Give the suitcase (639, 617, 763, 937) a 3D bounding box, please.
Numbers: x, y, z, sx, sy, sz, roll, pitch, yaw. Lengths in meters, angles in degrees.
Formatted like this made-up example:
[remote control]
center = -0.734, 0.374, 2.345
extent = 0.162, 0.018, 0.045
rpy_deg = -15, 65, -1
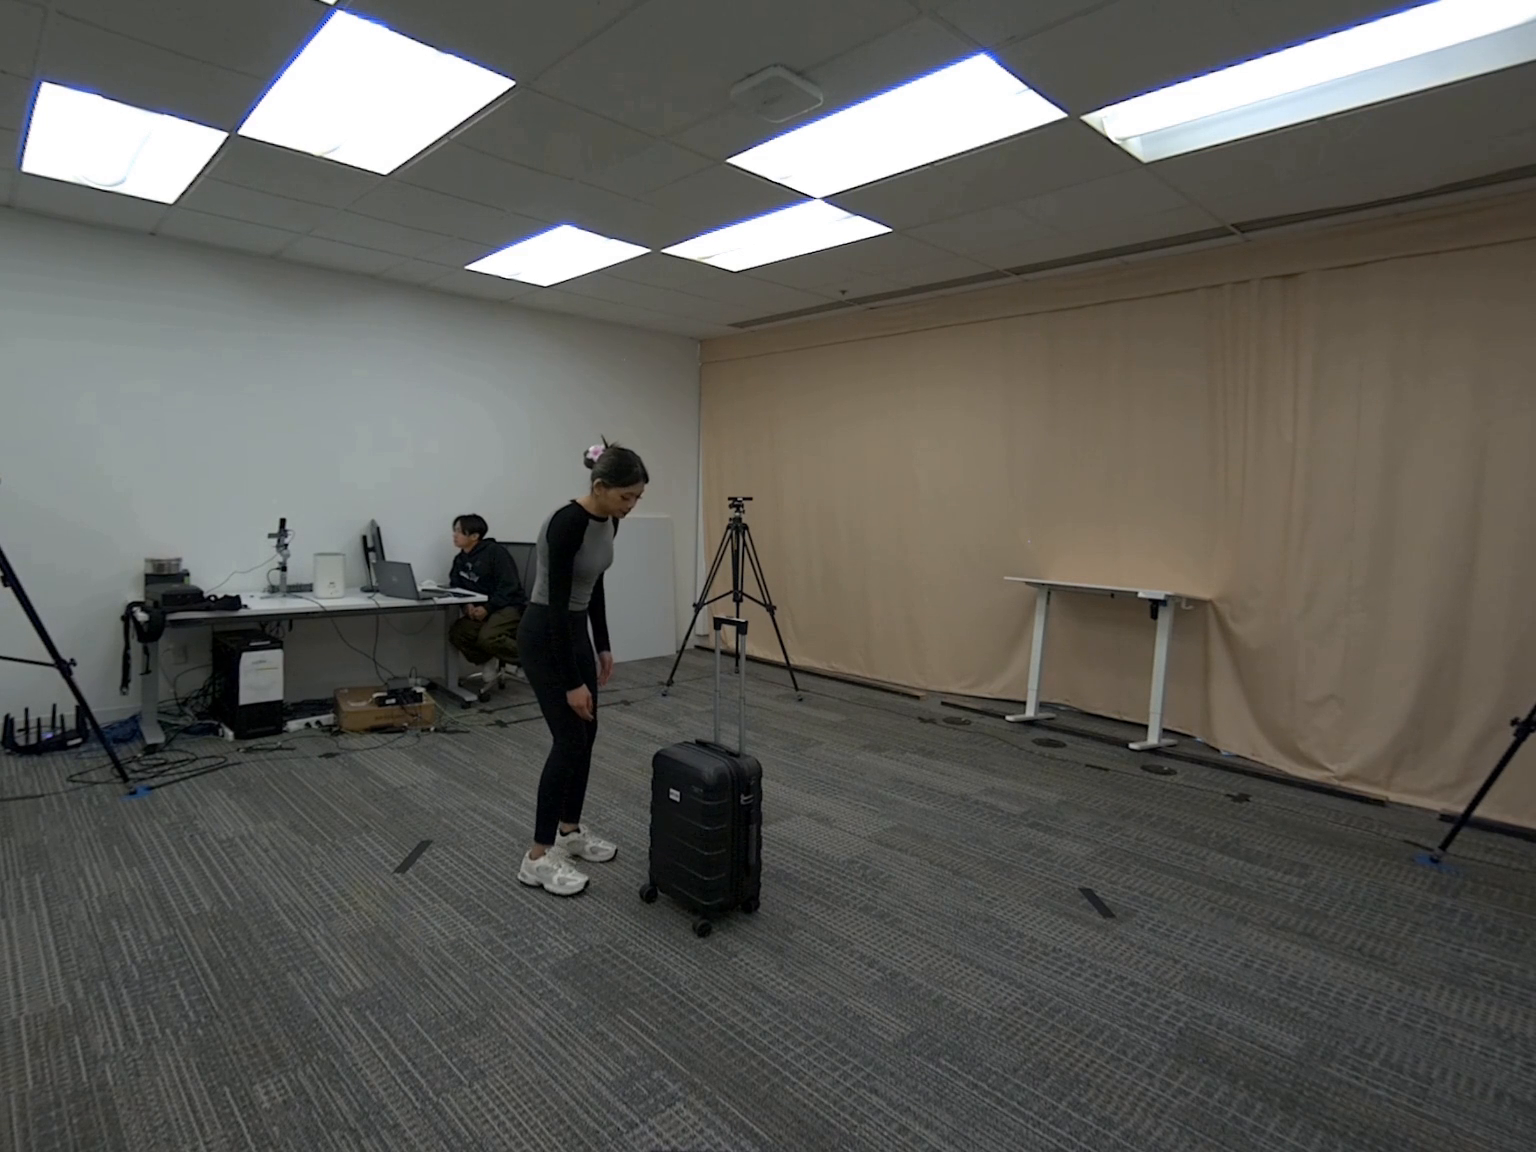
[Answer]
[suitcase]
center = -0.213, 0.653, 2.835
extent = 0.251, 0.976, 0.394
rpy_deg = -3, 5, -44
